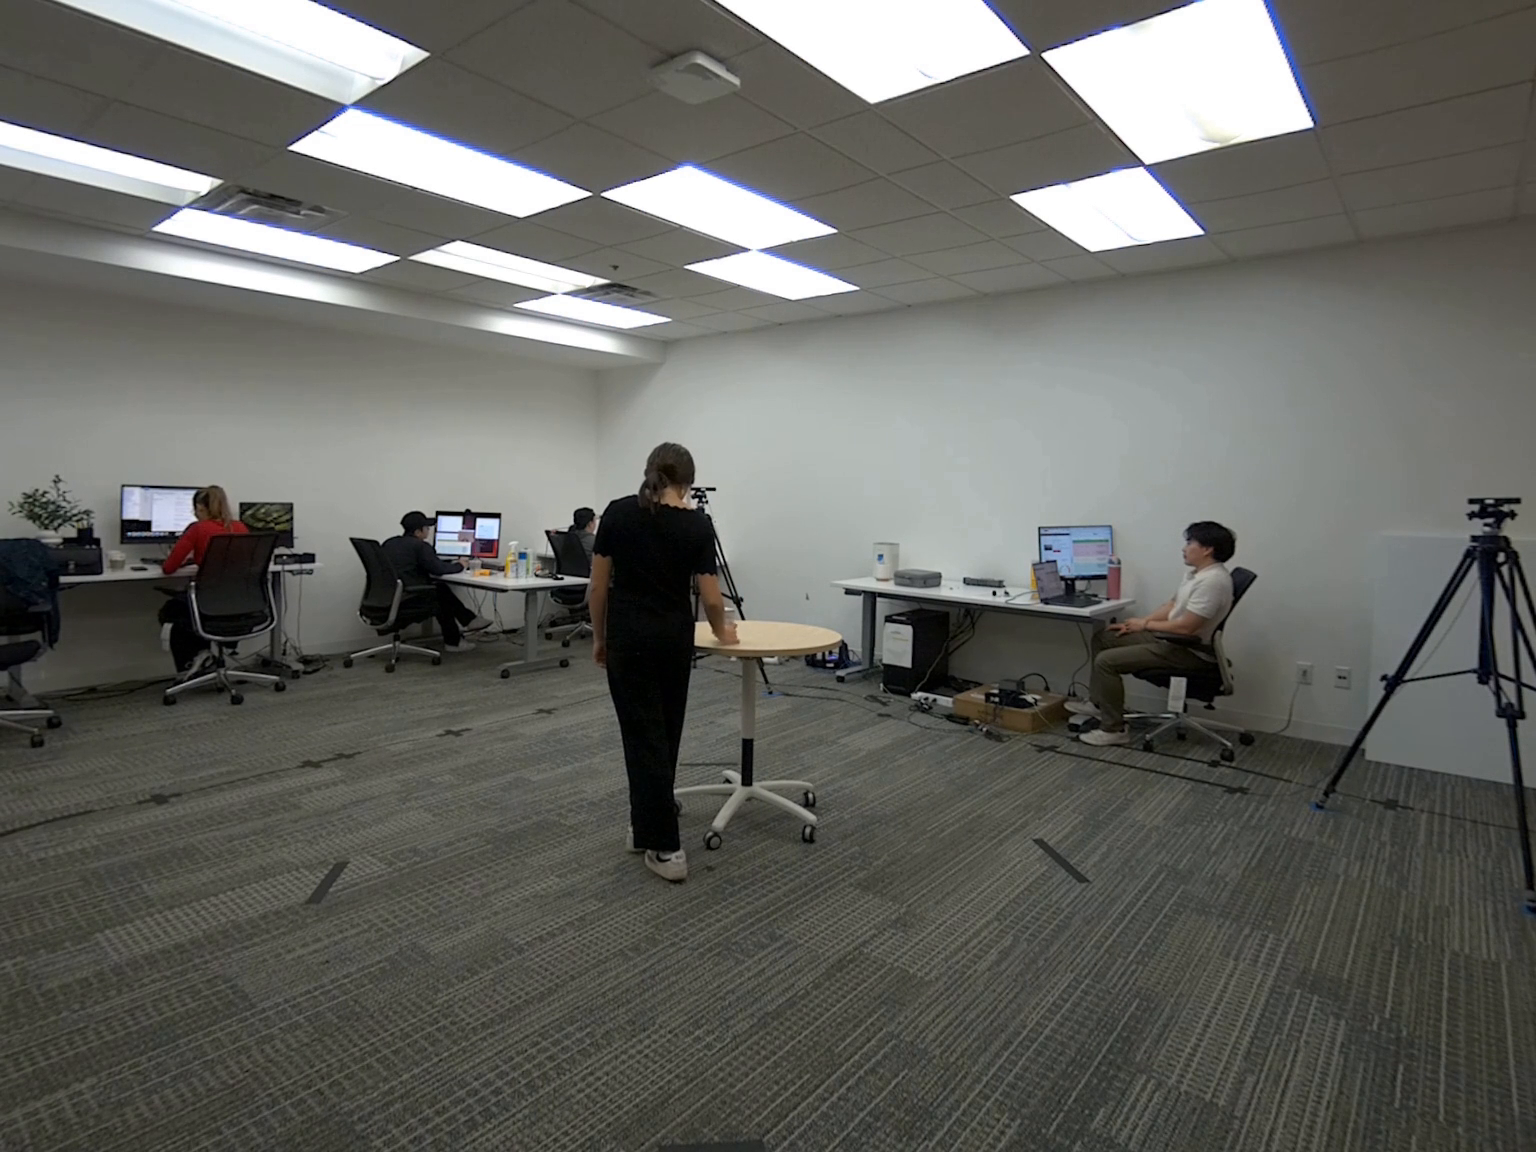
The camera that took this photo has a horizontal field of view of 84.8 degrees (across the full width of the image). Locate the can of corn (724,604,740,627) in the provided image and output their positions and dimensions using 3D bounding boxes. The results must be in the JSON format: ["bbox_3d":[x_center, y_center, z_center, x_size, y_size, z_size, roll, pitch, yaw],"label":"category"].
[{"bbox_3d":[-0.185,0.185,3.366,0.074,0.111,0.074,5,3,-2],"label":"can of corn"}]
